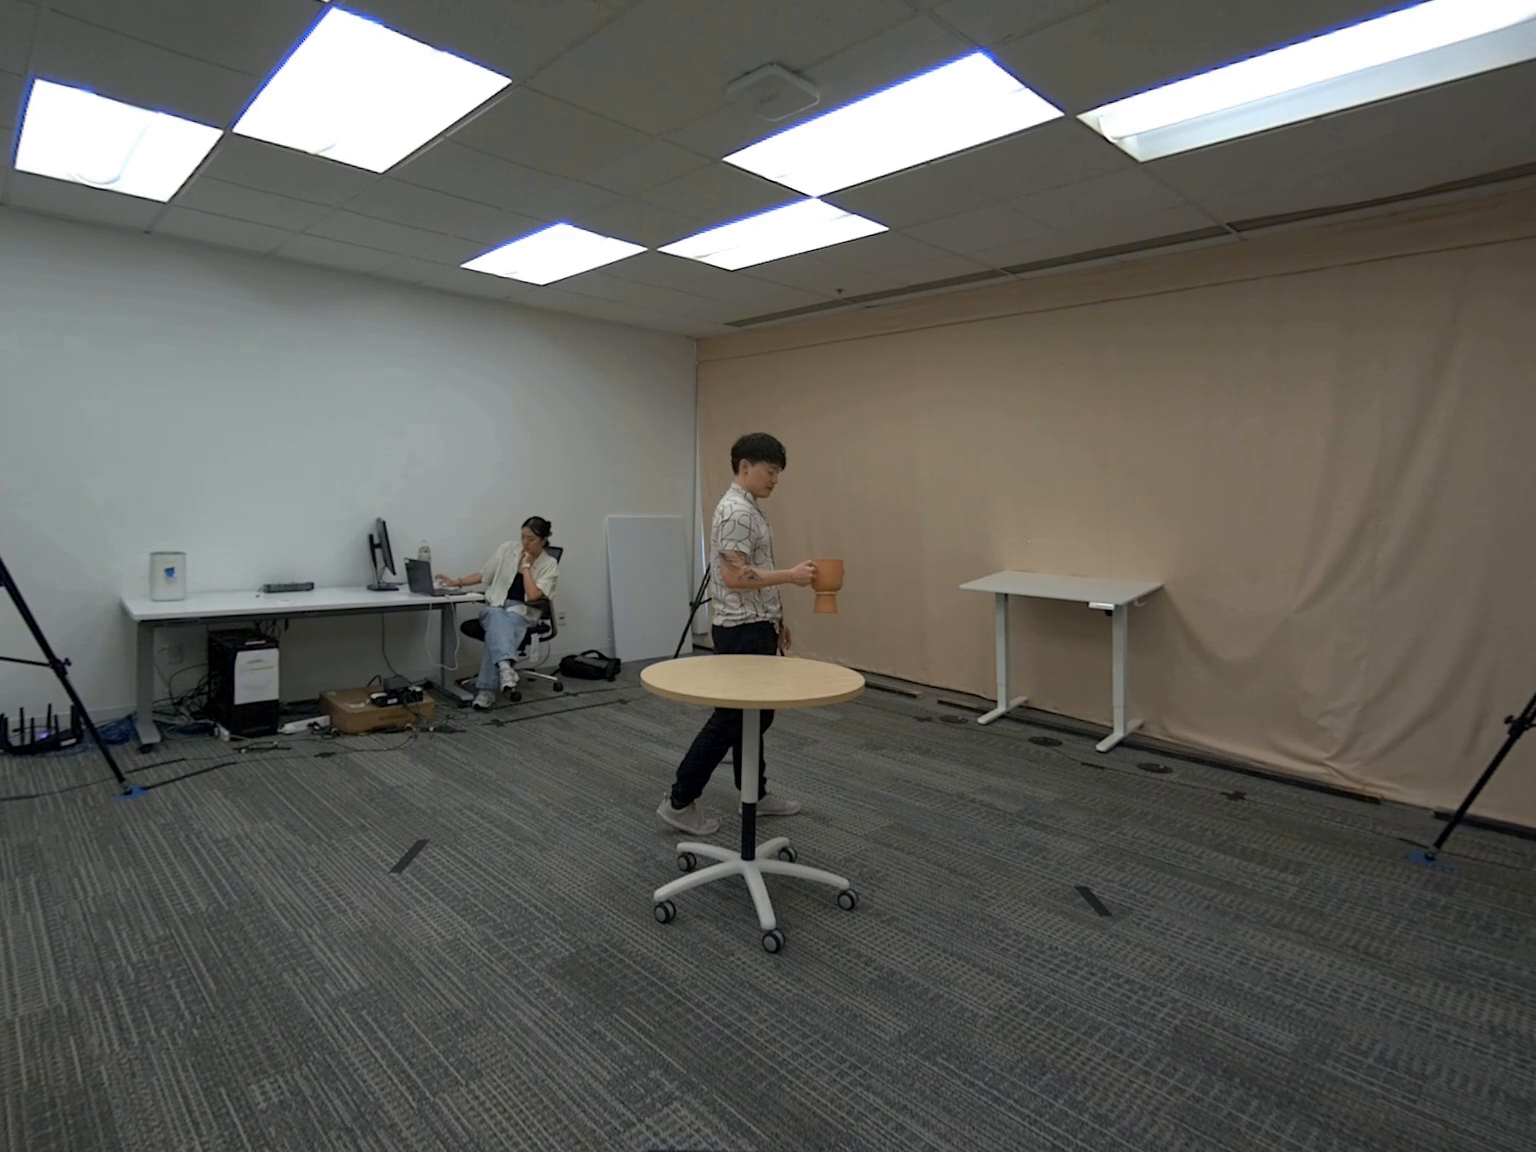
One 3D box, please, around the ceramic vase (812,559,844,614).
[{"bbox_3d":[0.226,0.041,3.437,0.159,0.220,0.134,3,-2,2],"label":"ceramic vase"}]
